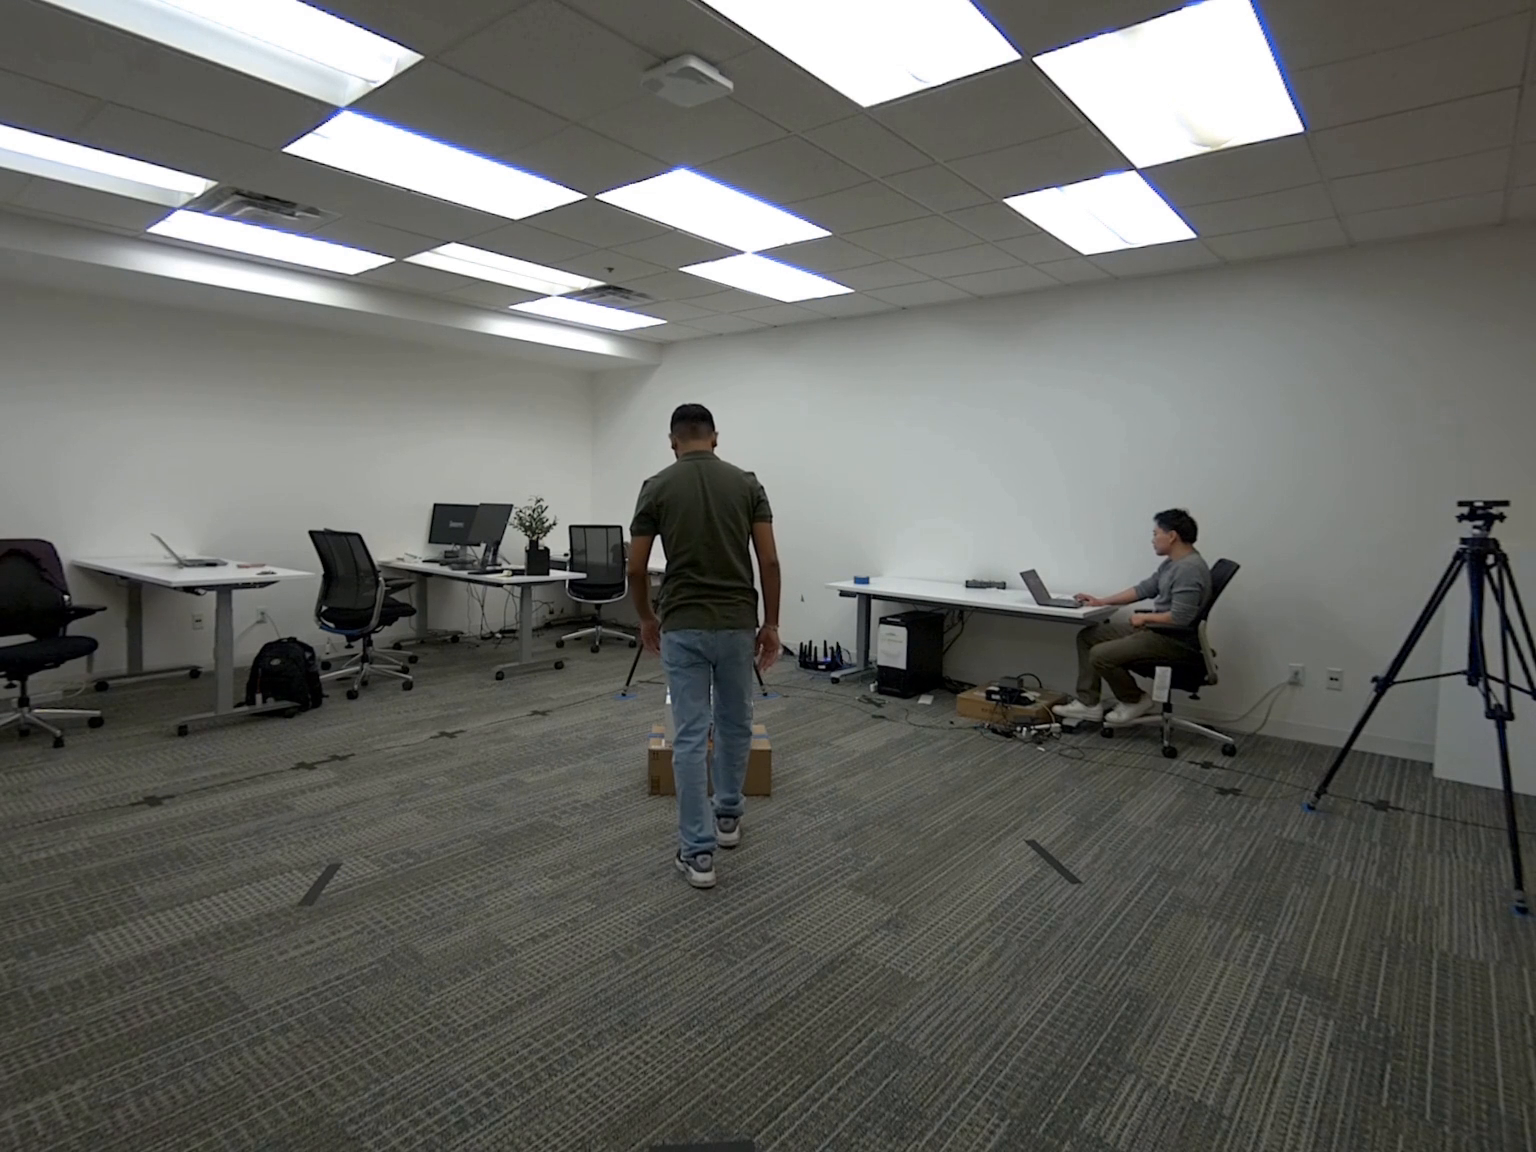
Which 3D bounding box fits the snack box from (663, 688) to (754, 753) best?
[{"bbox_3d":[-0.290,0.658,4.062,0.404,0.205,0.343,1,6,-3],"label":"snack box"}]
